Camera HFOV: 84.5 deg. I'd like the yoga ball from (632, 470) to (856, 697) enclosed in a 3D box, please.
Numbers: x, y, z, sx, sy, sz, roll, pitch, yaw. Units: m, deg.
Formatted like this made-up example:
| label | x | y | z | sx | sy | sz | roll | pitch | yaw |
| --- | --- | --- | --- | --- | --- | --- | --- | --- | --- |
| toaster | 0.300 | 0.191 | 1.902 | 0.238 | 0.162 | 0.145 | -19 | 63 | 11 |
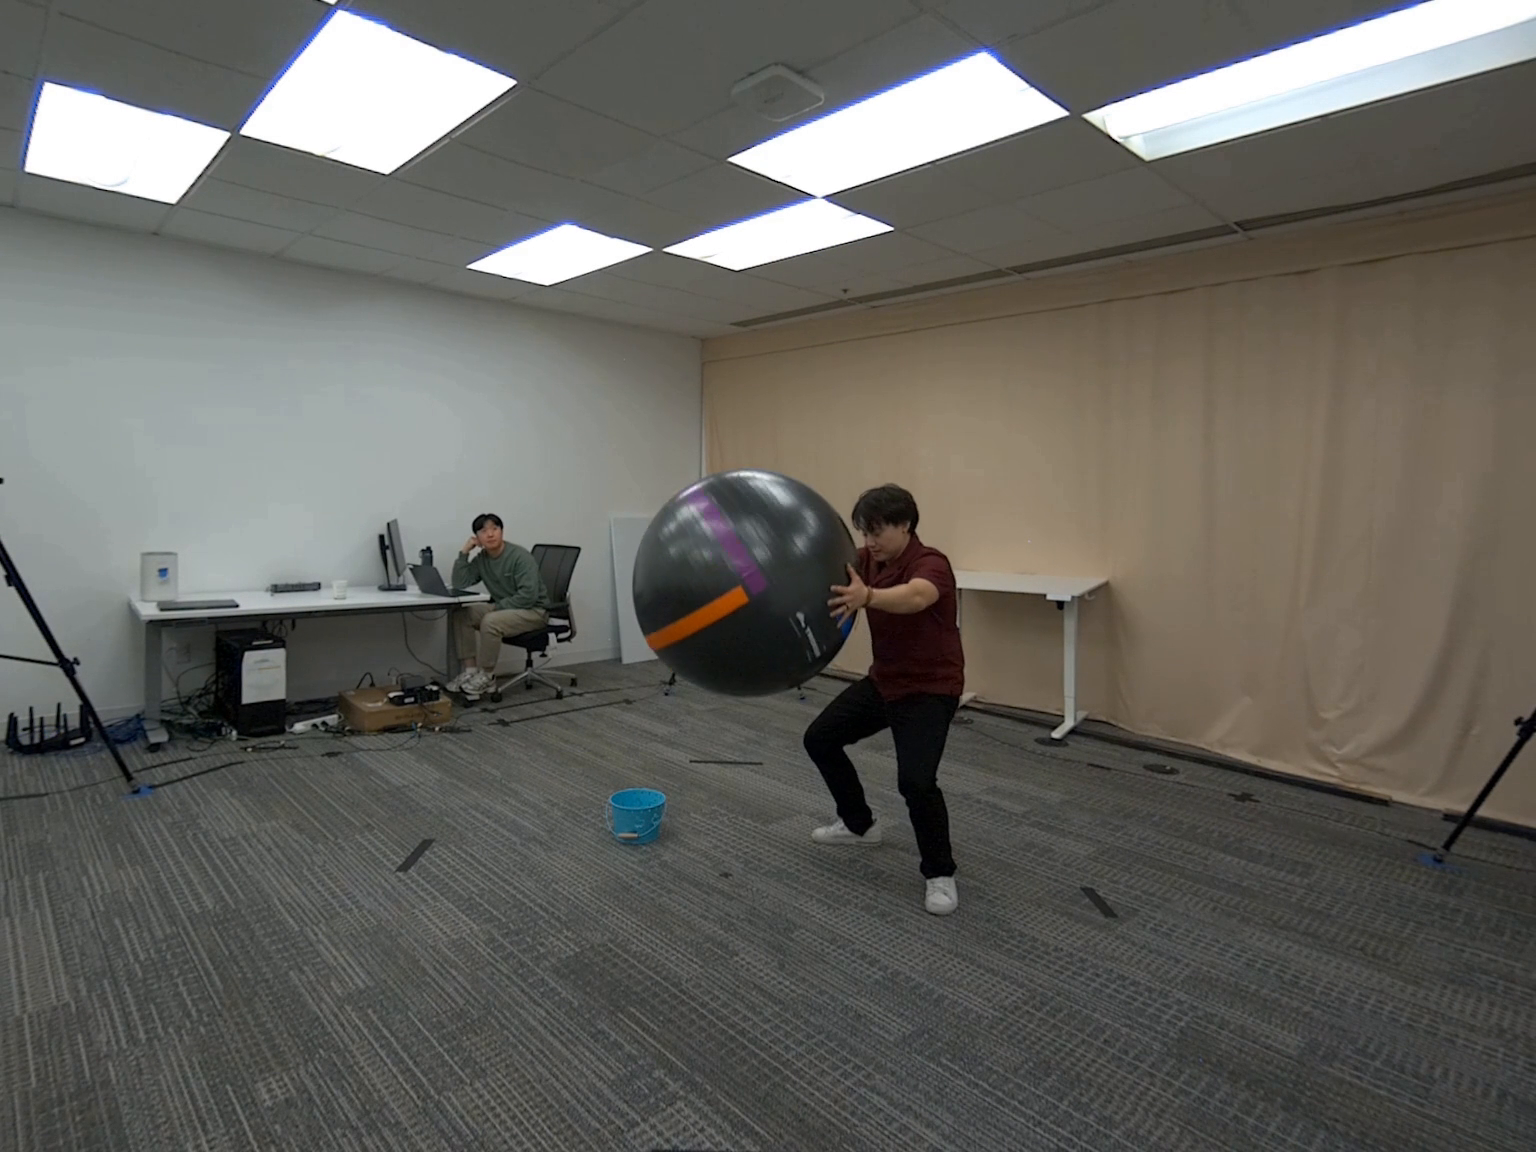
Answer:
| label | x | y | z | sx | sy | sz | roll | pitch | yaw |
| --- | --- | --- | --- | --- | --- | --- | --- | --- | --- |
| yoga ball | -0.073 | 0.030 | 2.809 | 0.757 | 0.756 | 0.761 | 1 | 4 | -1 |
